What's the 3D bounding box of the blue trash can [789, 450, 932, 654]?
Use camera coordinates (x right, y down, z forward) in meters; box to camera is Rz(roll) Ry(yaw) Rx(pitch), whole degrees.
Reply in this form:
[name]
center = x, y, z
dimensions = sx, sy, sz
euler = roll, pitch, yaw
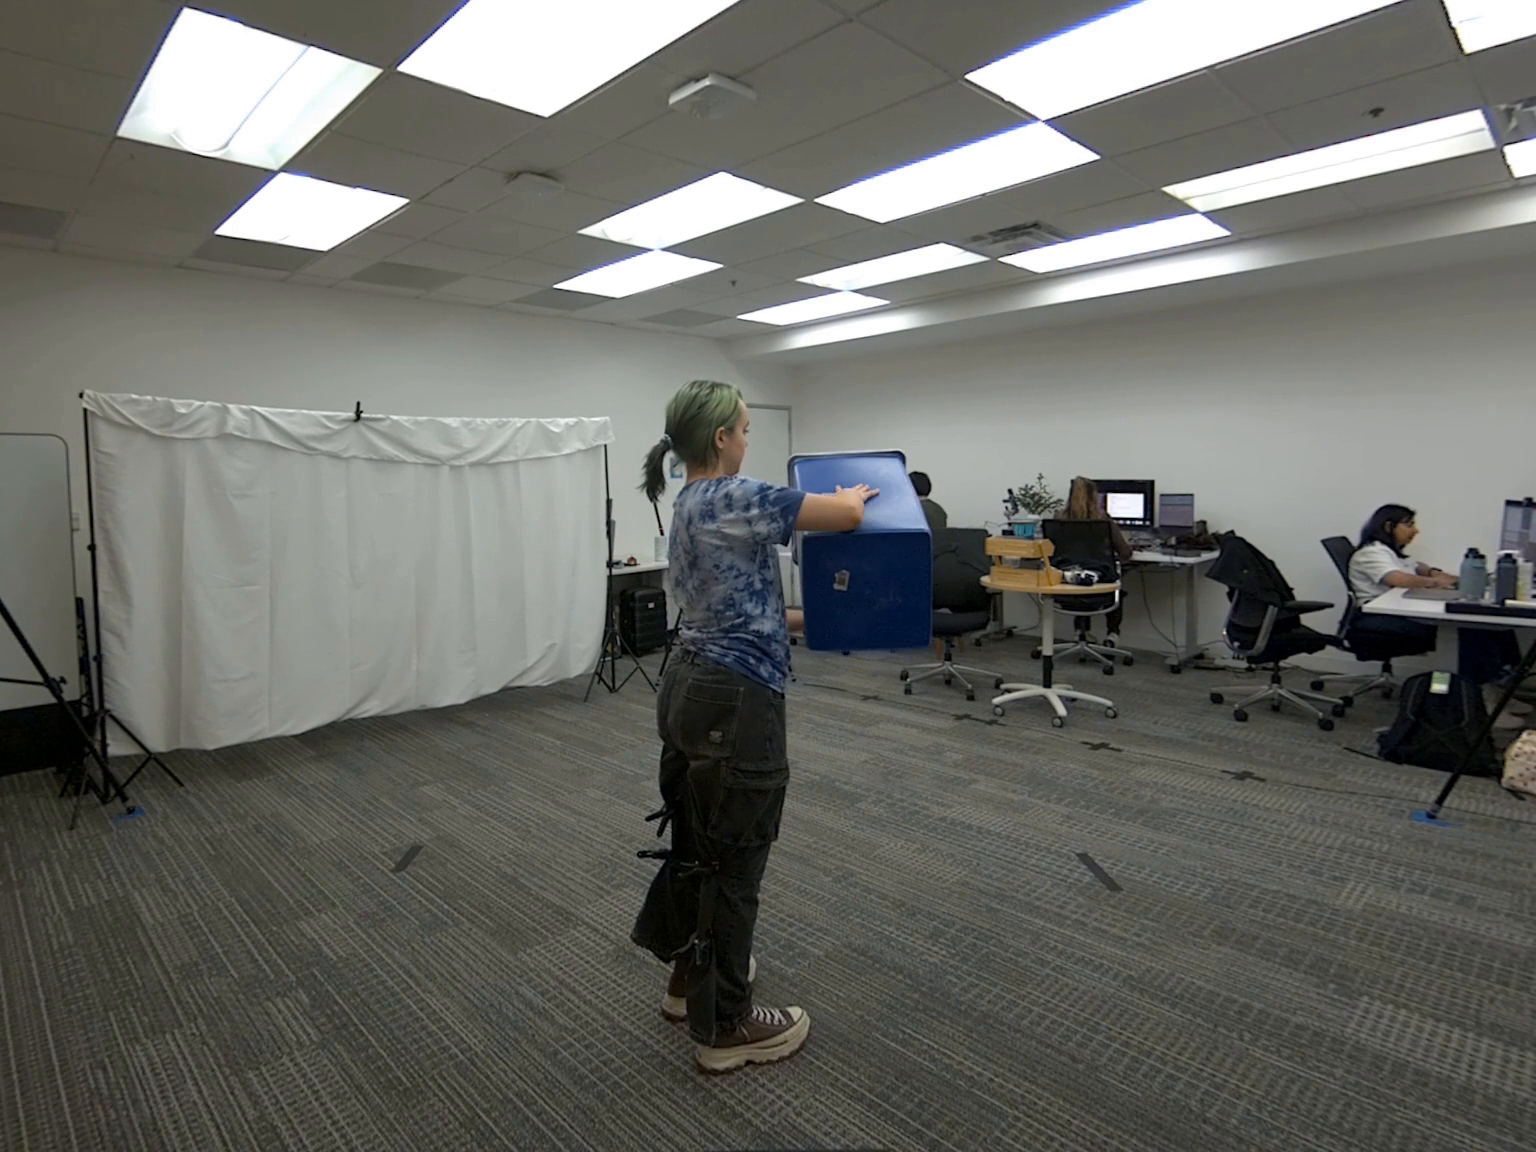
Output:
[blue trash can]
center = 0.237, -0.095, 2.373
dimensions = 0.376, 0.371, 0.723
euler = -3, 20, 4
